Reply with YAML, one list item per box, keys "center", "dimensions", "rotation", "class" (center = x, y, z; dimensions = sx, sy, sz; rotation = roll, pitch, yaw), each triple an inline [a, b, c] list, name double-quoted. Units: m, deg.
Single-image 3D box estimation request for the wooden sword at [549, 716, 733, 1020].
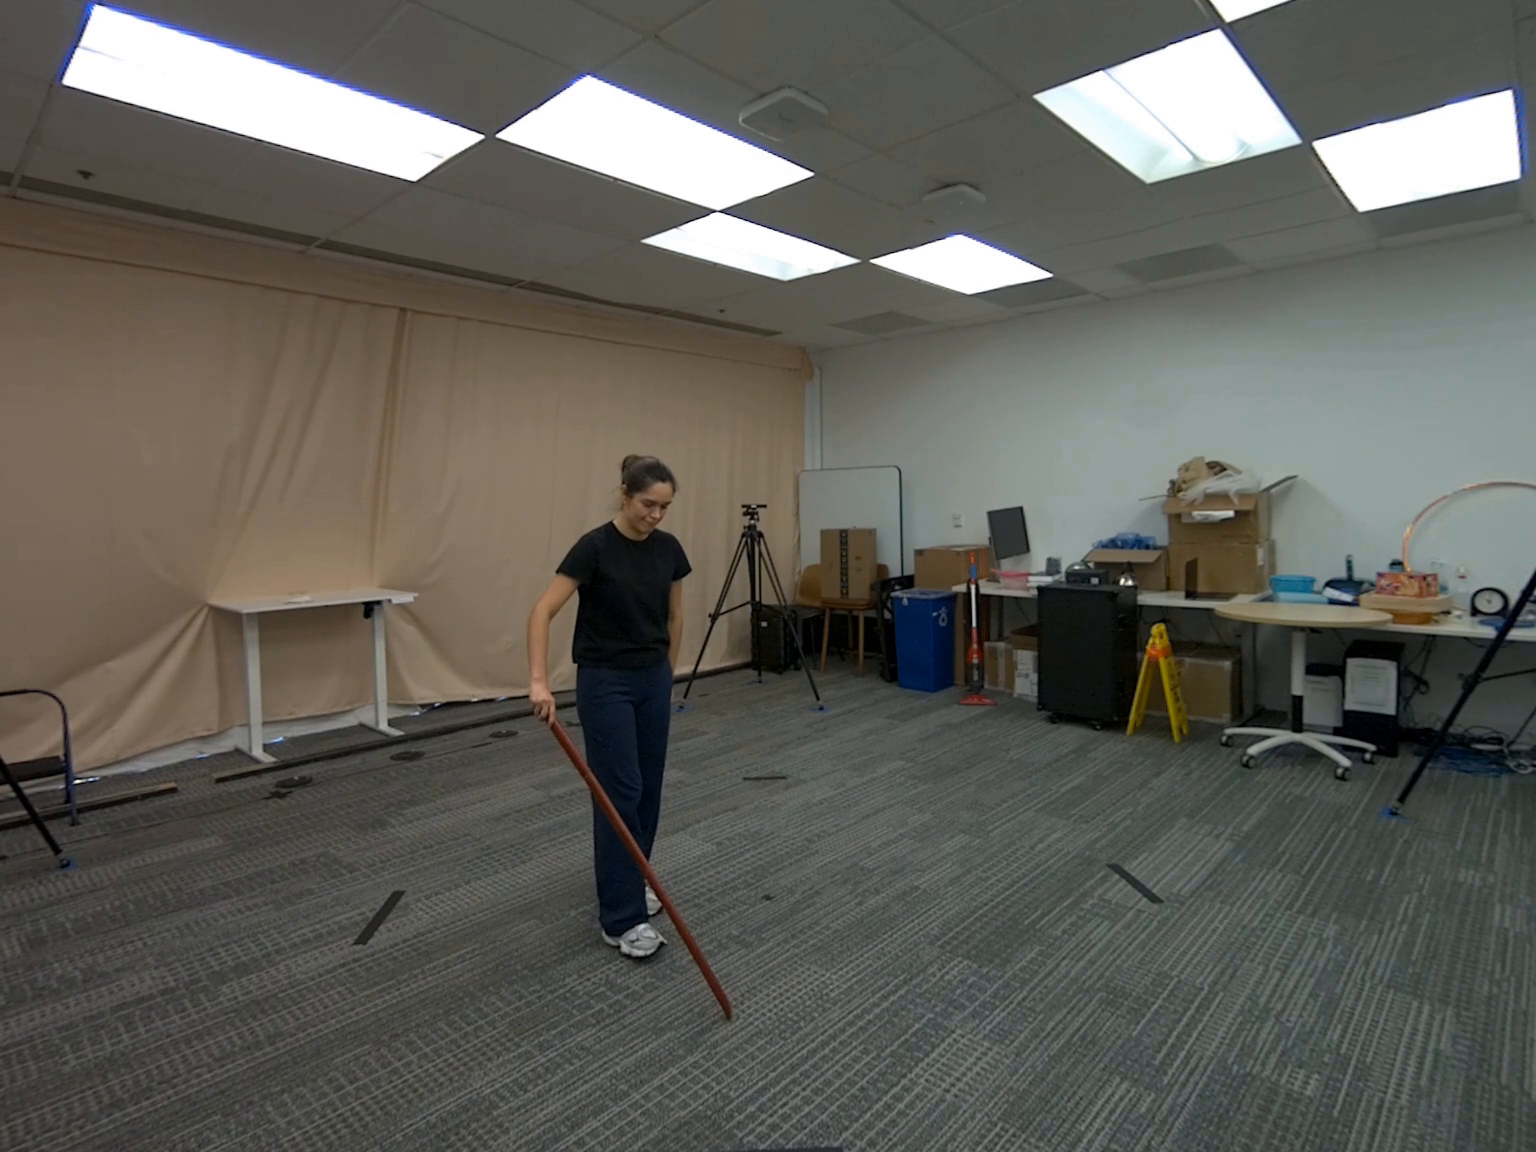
- center: [-0.360, 0.775, 2.403]
  dimensions: [0.050, 1.041, 0.024]
  rotation: [-28, -15, -25]
  class: "wooden sword"
